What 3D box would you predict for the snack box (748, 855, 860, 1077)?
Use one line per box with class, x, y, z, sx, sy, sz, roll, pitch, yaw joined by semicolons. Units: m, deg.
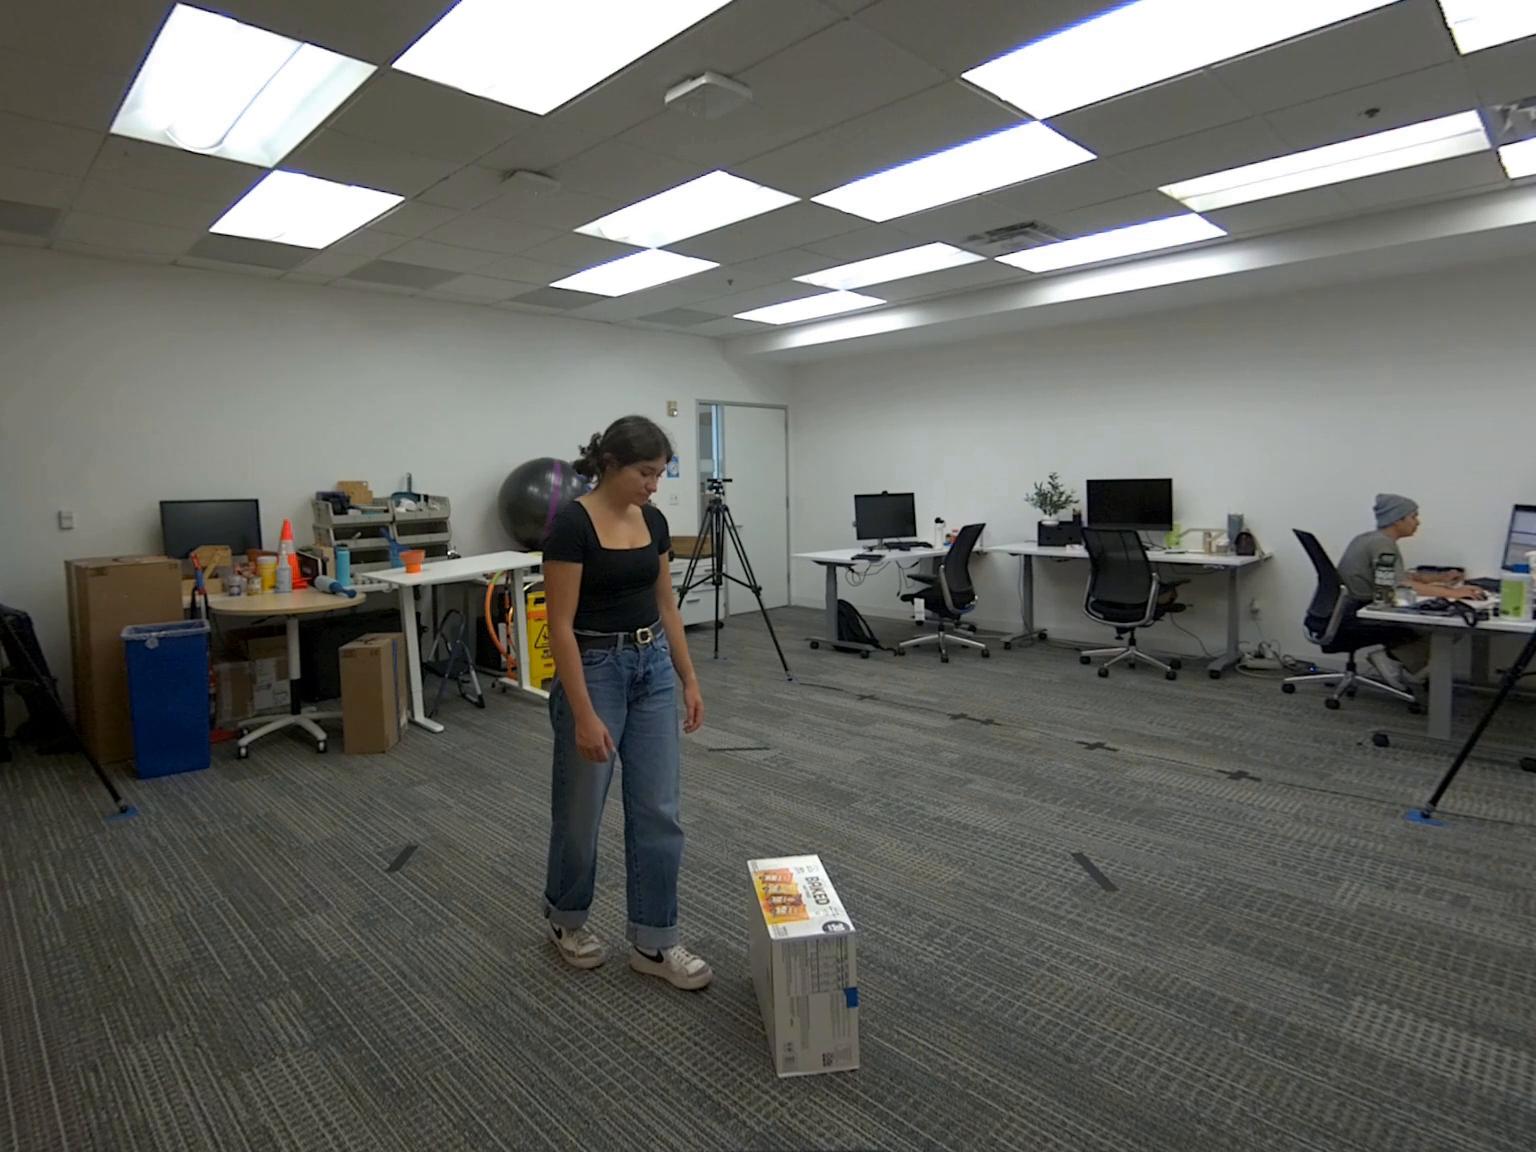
snack box;0.085;0.979;2.191;0.204;0.339;0.409;-4;5;-8
